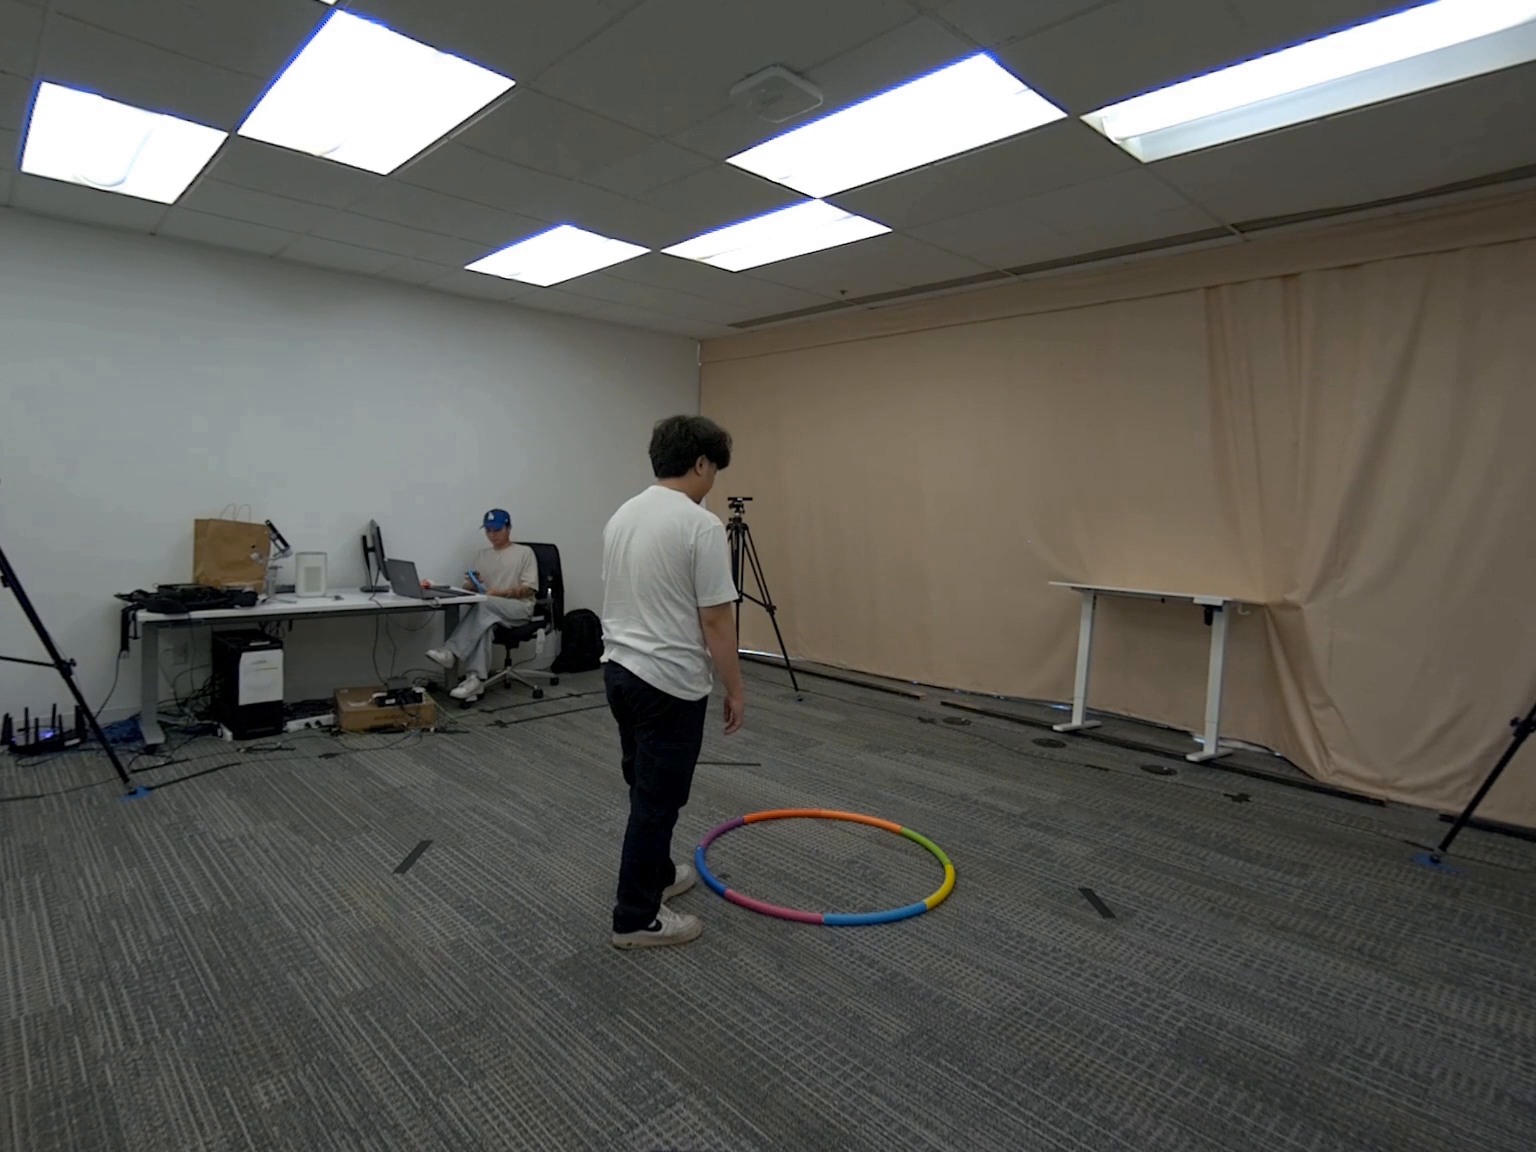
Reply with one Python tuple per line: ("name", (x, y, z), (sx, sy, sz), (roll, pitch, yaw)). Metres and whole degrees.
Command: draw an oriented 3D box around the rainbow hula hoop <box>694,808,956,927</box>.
("rainbow hula hoop", (0.205, 1.079, 3.242), (0.985, 0.051, 0.989), (1, 6, -1))
